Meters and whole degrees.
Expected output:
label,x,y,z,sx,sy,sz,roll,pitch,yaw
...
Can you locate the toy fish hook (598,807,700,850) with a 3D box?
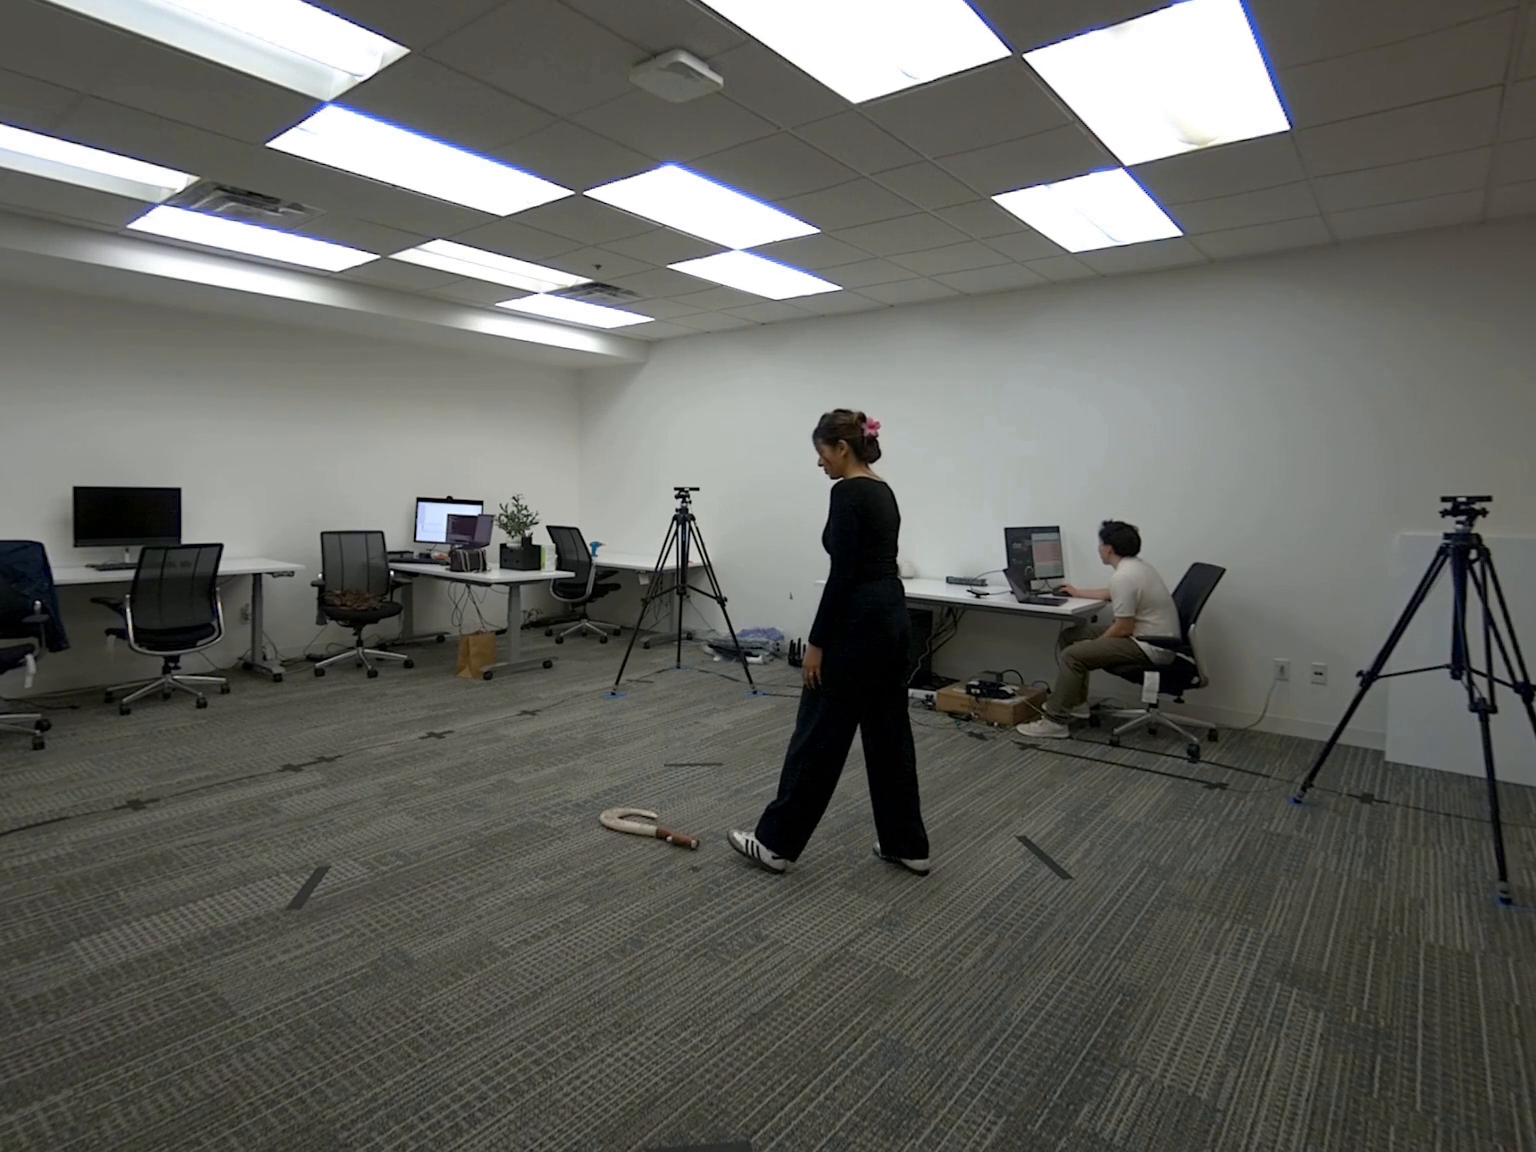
label,x,y,z,sx,sy,sz,roll,pitch,yaw
toy fish hook,-0.469,1.009,3.446,0.523,0.048,0.219,5,8,33
